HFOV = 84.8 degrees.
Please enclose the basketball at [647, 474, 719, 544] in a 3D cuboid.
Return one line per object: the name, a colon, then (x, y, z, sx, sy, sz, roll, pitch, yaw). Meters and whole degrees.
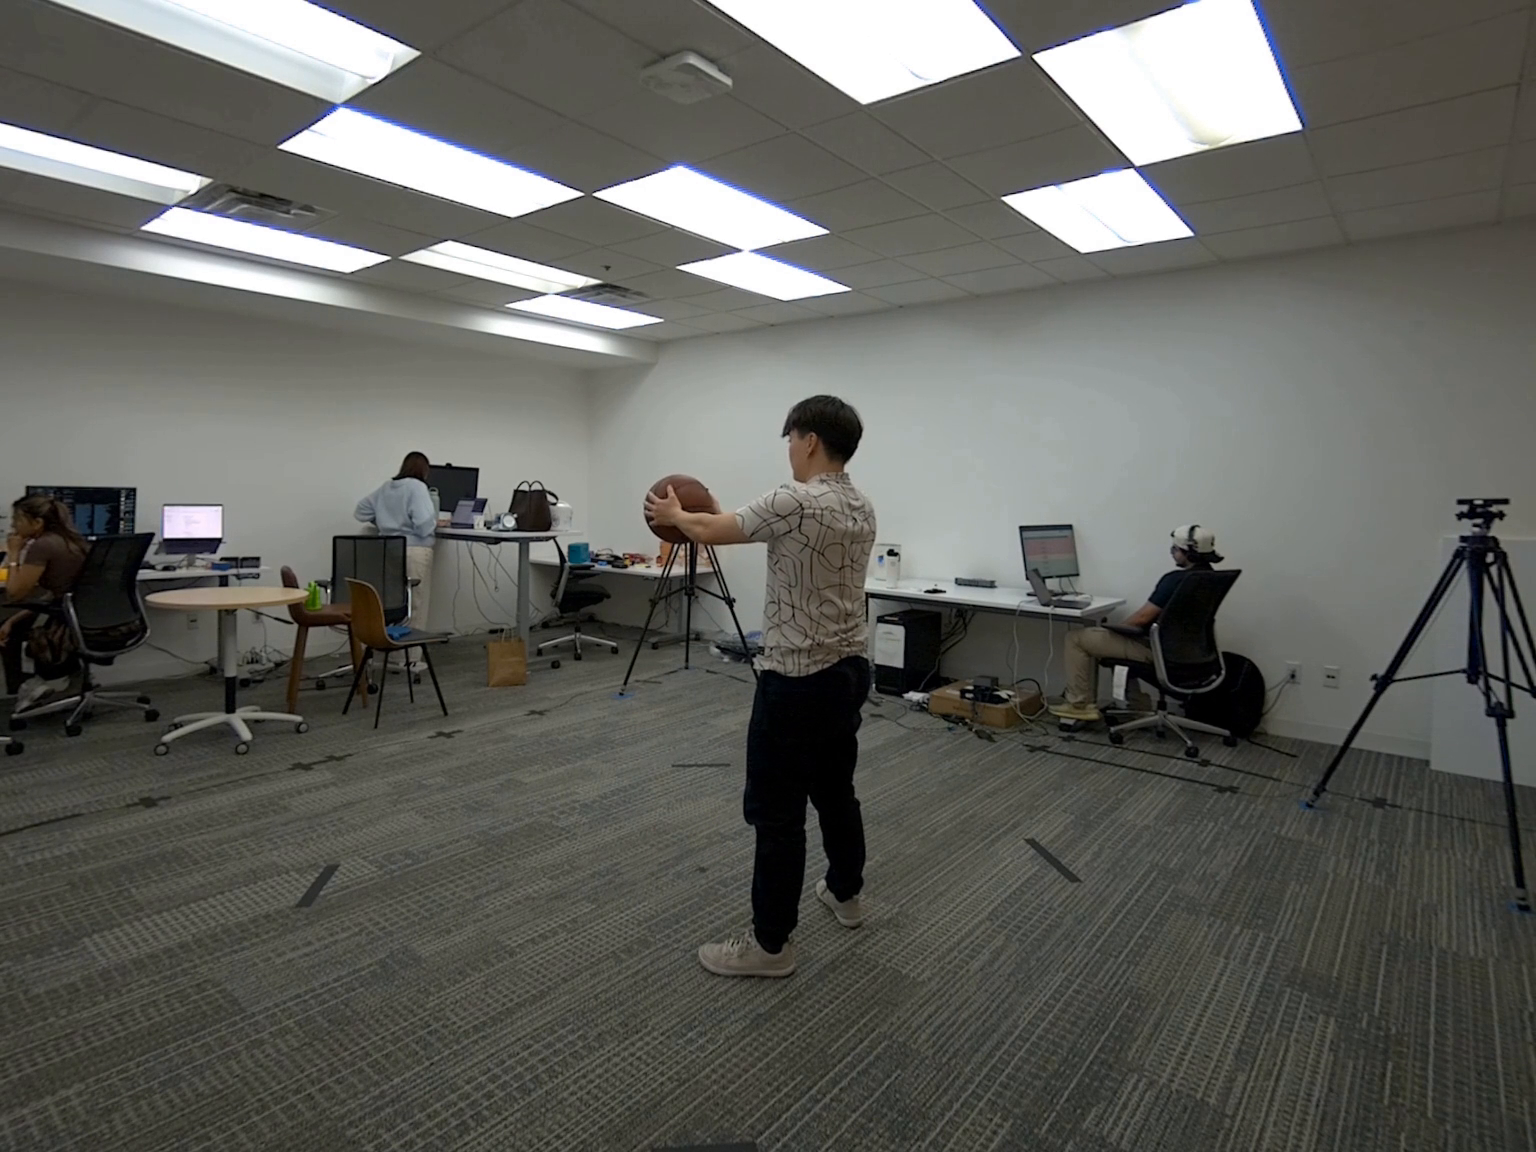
basketball: (-0.311, -0.231, 2.921, 0.235, 0.235, 0.237, 1, 4, -2)
